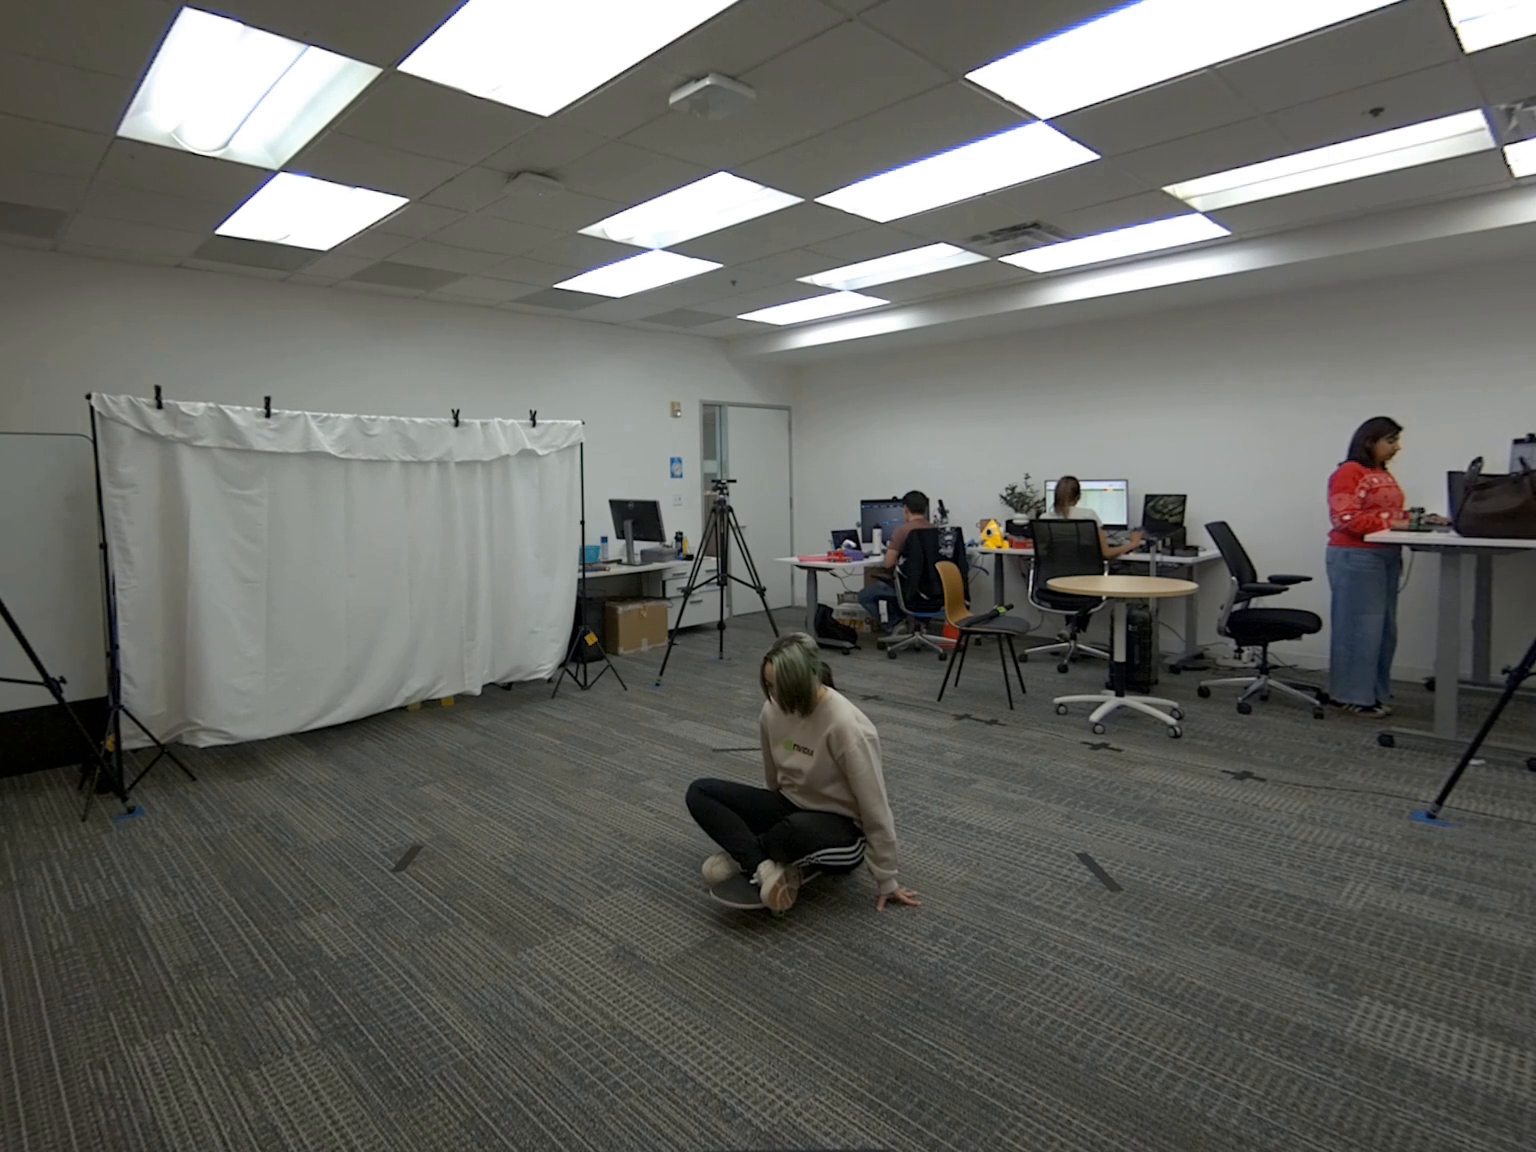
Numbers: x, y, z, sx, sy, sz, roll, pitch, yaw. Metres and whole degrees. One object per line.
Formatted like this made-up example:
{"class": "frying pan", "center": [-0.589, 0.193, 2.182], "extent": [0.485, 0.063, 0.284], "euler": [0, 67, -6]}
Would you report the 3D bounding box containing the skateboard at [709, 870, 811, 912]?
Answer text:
{"class": "skateboard", "center": [0.095, 1.011, 2.910], "extent": [0.199, 0.110, 0.764], "euler": [6, 8, 39]}
